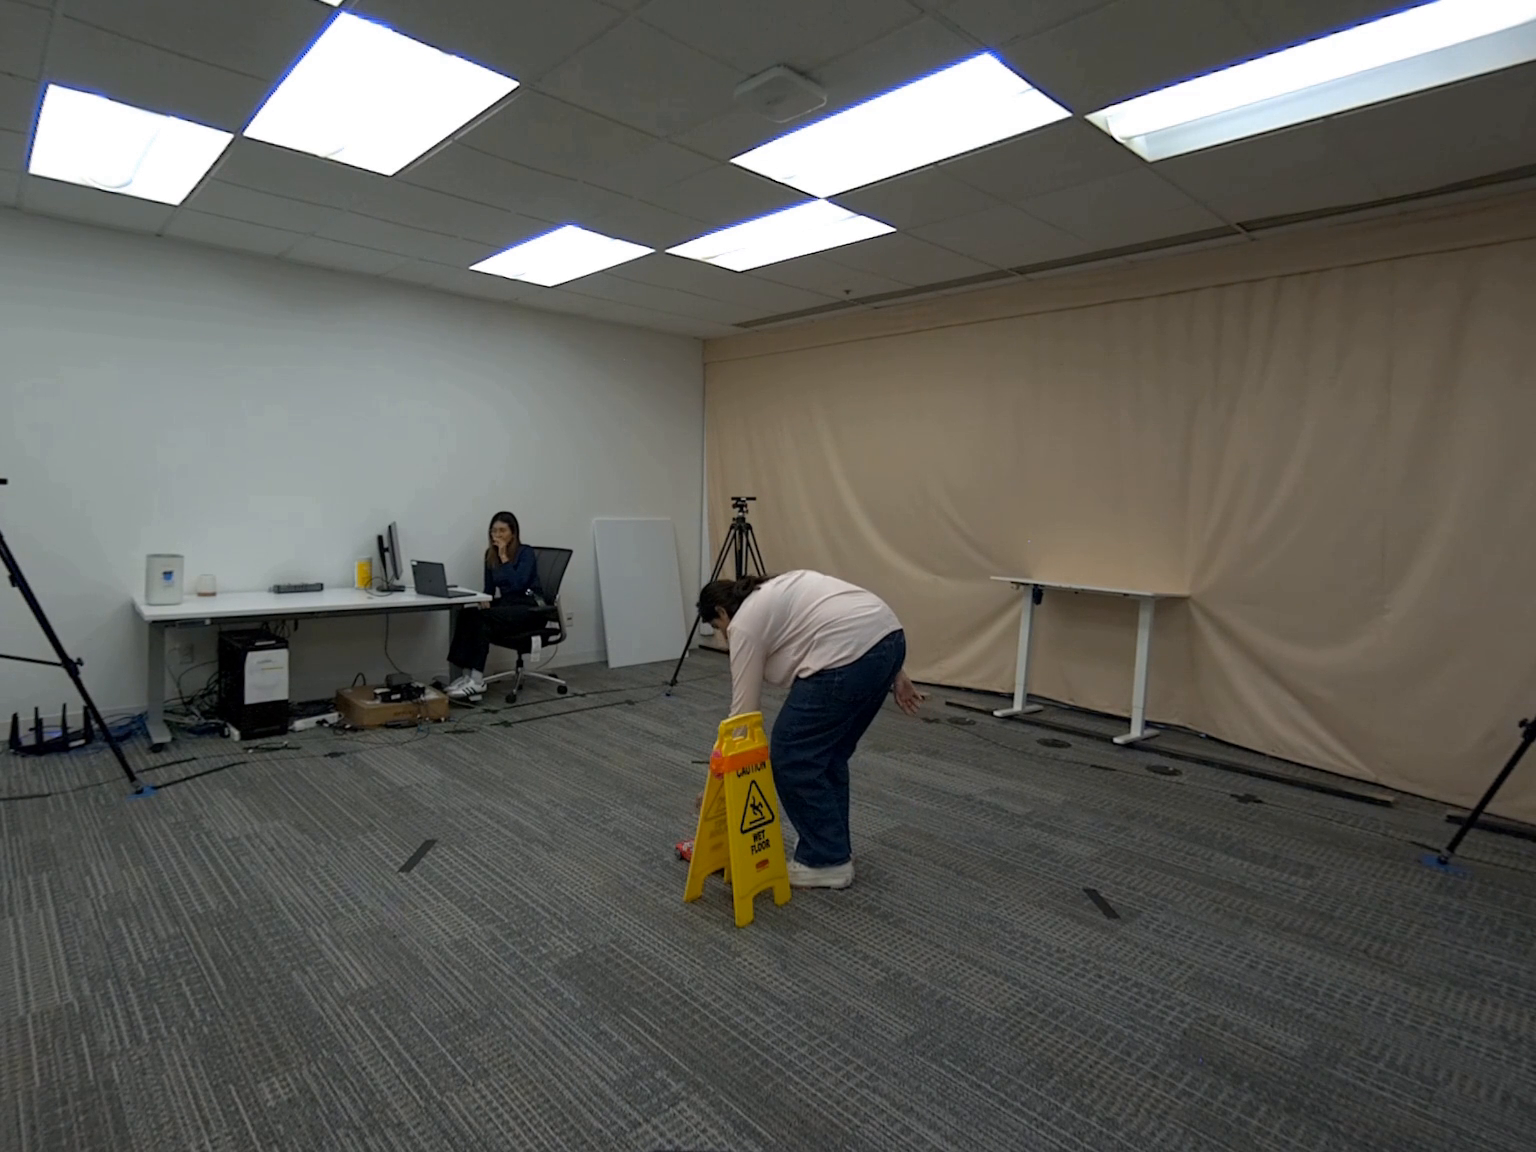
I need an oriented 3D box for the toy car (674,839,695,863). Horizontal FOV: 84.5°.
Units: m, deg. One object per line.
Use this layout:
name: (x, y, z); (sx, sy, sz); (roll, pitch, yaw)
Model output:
toy car: (-0.243, 1.059, 3.199); (0.127, 0.083, 0.259); (-3, -4, -41)
